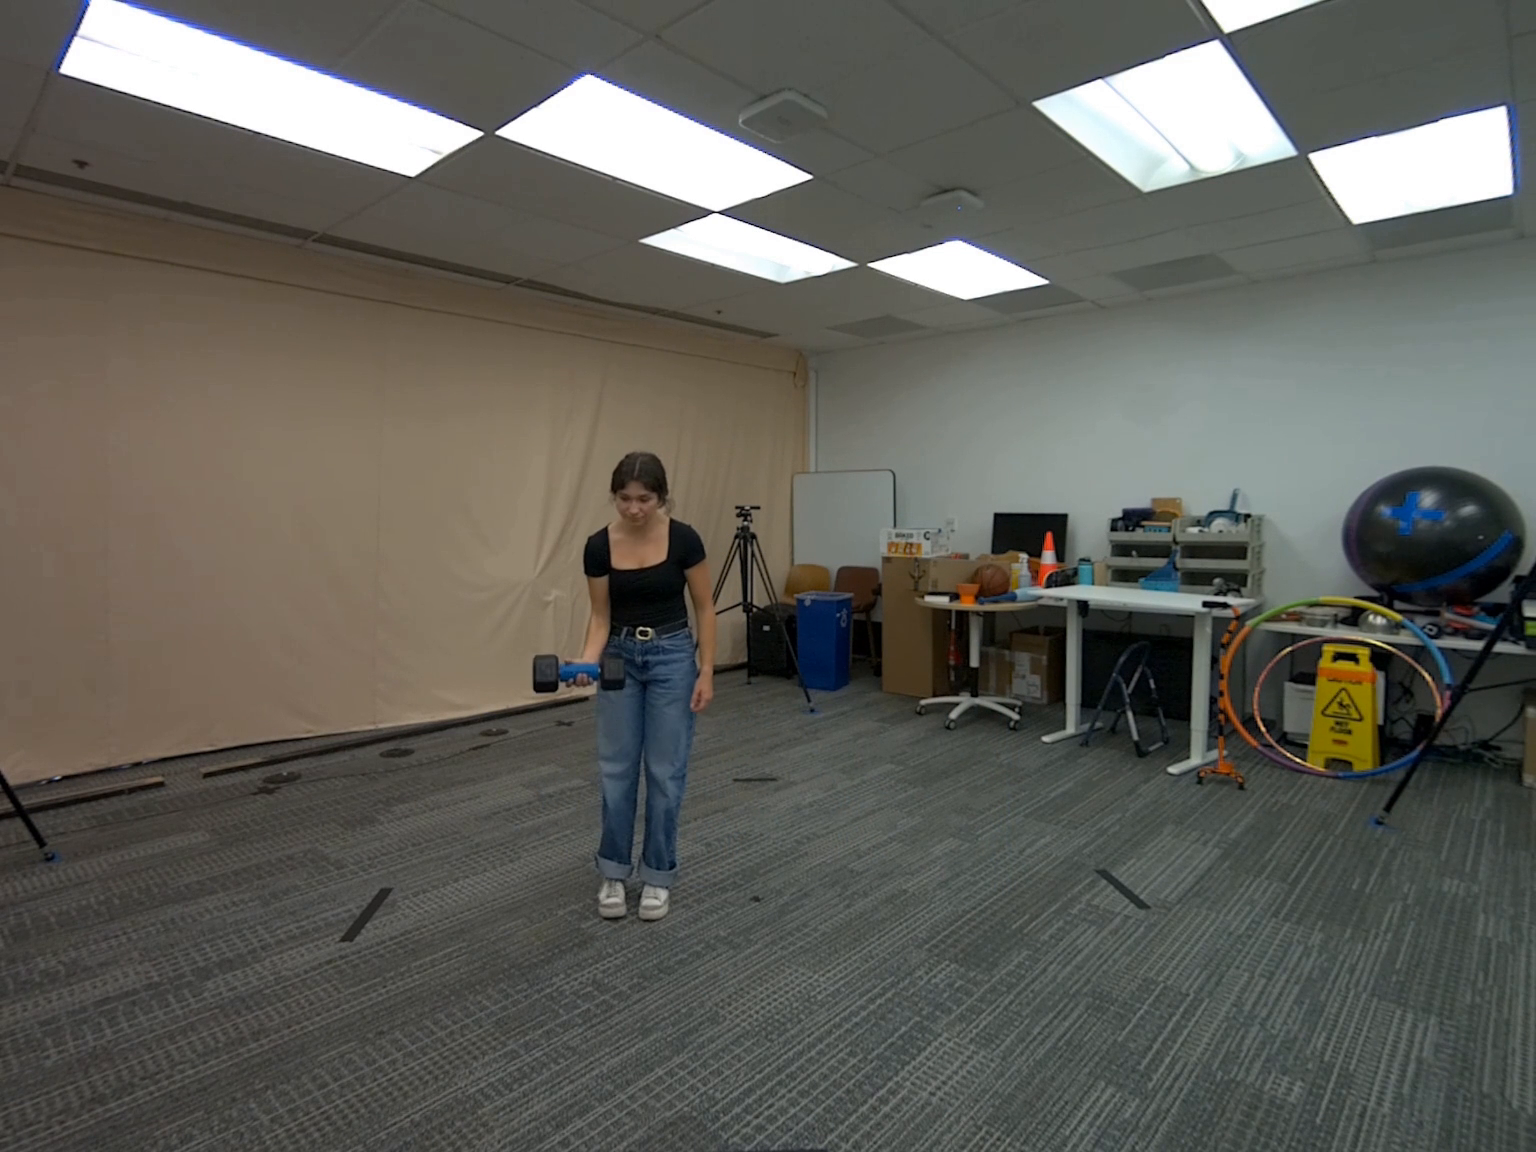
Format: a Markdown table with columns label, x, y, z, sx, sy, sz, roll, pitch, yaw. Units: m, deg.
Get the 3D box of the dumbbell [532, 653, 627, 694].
| label | x | y | z | sx | sy | sz | roll | pitch | yaw |
| --- | --- | --- | --- | --- | --- | --- | --- | --- | --- |
| dumbbell | -0.612 | 0.303 | 2.689 | 0.290 | 0.108 | 0.125 | 0 | 14 | -12 |
